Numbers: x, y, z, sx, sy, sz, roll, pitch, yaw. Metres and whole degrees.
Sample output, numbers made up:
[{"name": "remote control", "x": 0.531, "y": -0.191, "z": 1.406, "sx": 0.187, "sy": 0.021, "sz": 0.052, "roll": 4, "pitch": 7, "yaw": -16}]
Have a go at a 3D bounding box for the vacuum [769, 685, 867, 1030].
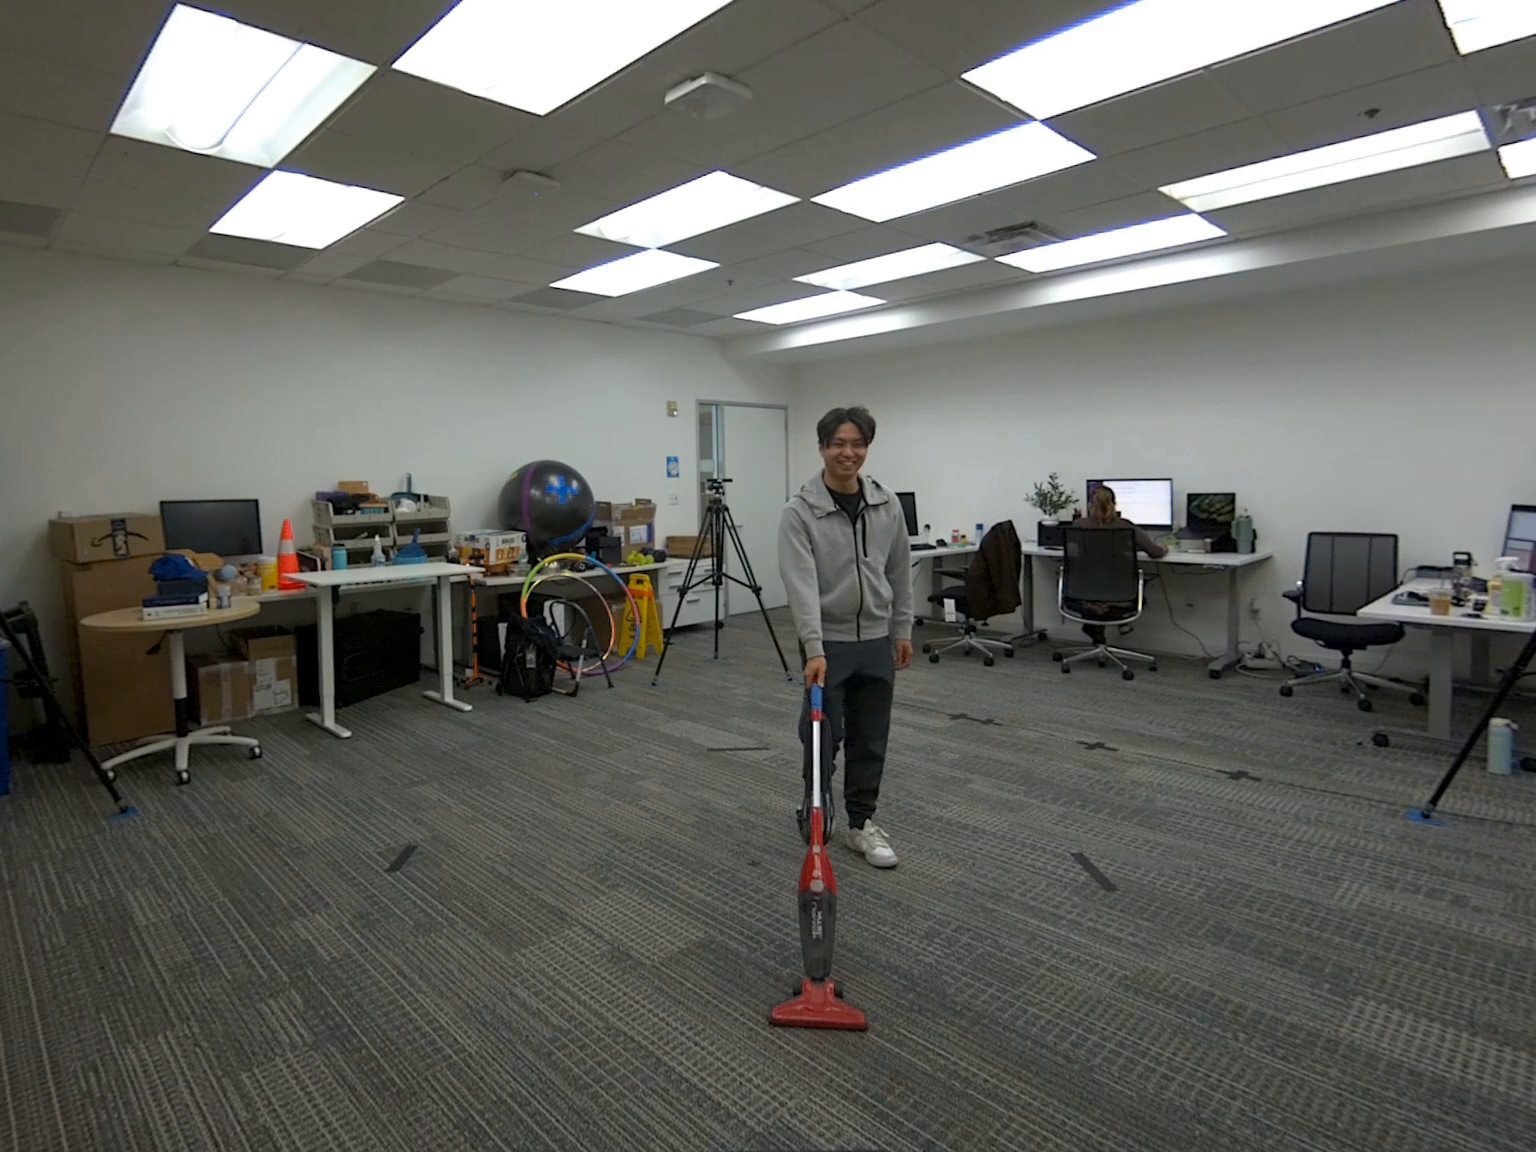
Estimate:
[{"name": "vacuum", "x": 0.155, "y": 0.734, "z": 2.589, "sx": 0.255, "sy": 1.075, "sz": 0.139, "roll": -4, "pitch": -42, "yaw": 8}]
